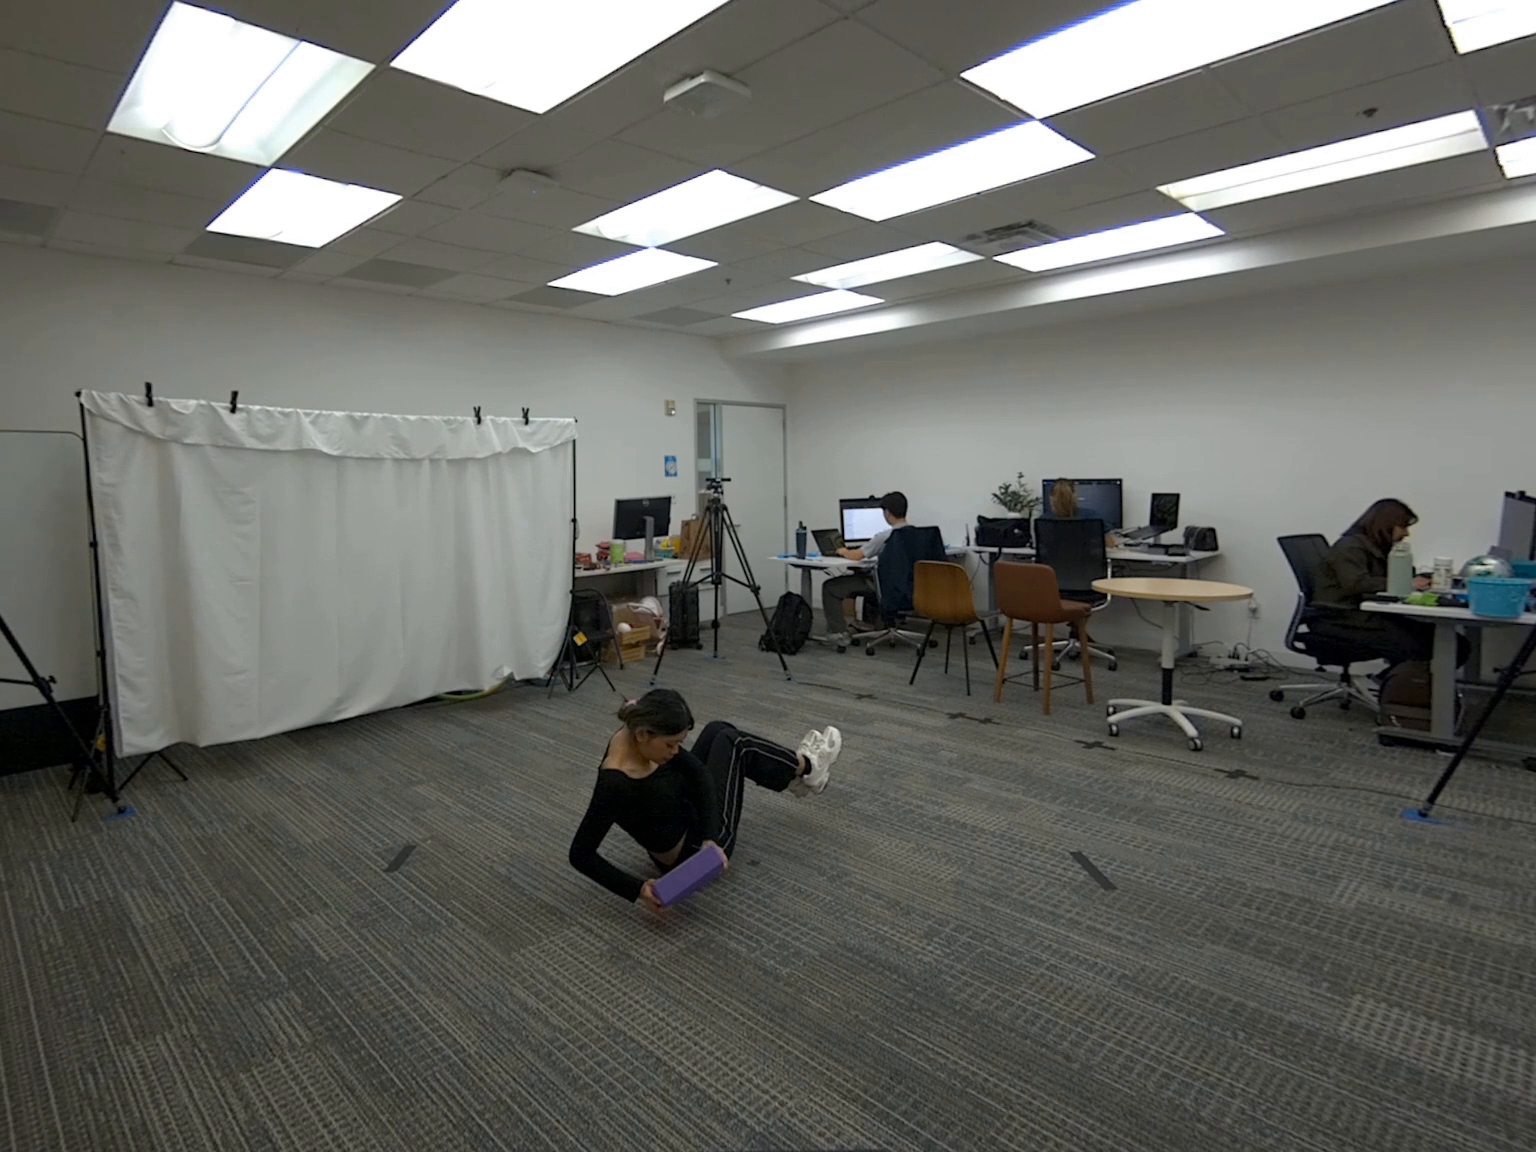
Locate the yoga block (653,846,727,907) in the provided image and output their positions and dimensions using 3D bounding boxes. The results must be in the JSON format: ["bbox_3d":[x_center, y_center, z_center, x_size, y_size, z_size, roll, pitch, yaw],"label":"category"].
[{"bbox_3d":[-0.269,0.953,2.682,0.227,0.078,0.146,-29,-22,-25],"label":"yoga block"}]
